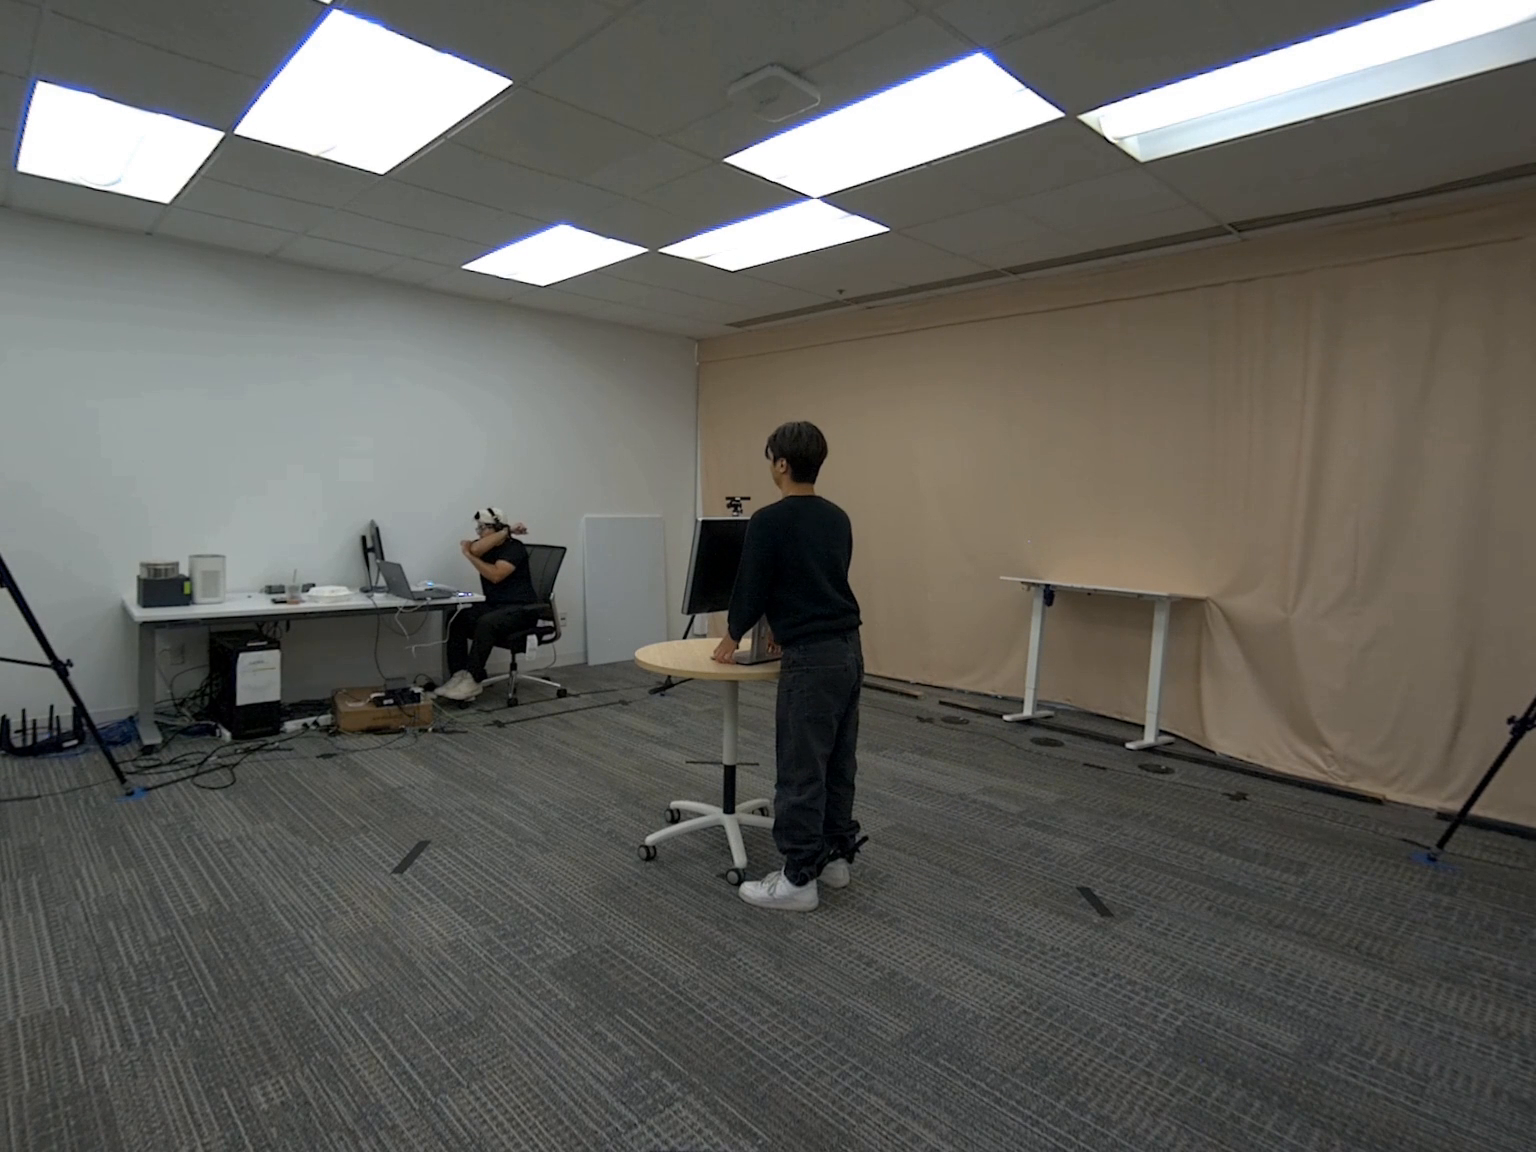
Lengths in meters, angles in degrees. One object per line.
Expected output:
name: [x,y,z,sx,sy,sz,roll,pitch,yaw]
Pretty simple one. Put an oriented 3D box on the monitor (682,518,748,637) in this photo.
monitor: [-0.073,0.048,3.208,0.192,0.521,0.527,4,5,40]
